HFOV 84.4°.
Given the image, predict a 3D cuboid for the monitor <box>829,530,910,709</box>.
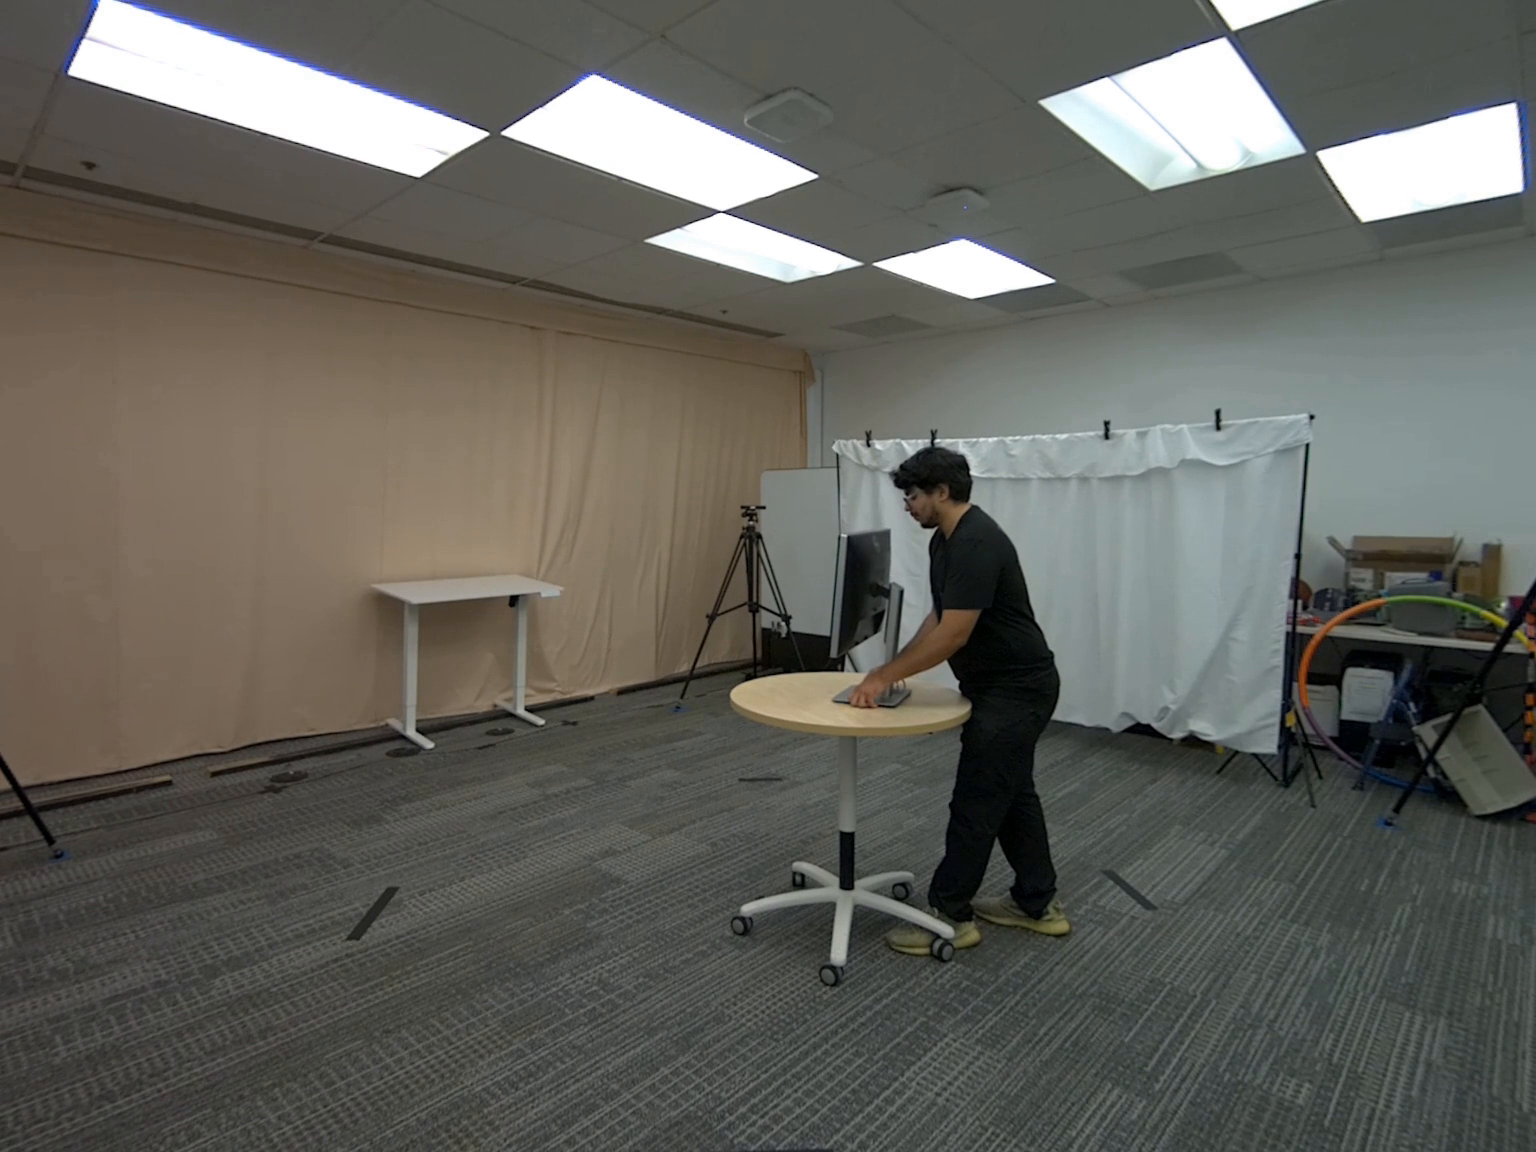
[{"bbox_3d":[0.370,0.130,2.674,0.215,0.553,0.553,2,4,22],"label":"monitor"}]
